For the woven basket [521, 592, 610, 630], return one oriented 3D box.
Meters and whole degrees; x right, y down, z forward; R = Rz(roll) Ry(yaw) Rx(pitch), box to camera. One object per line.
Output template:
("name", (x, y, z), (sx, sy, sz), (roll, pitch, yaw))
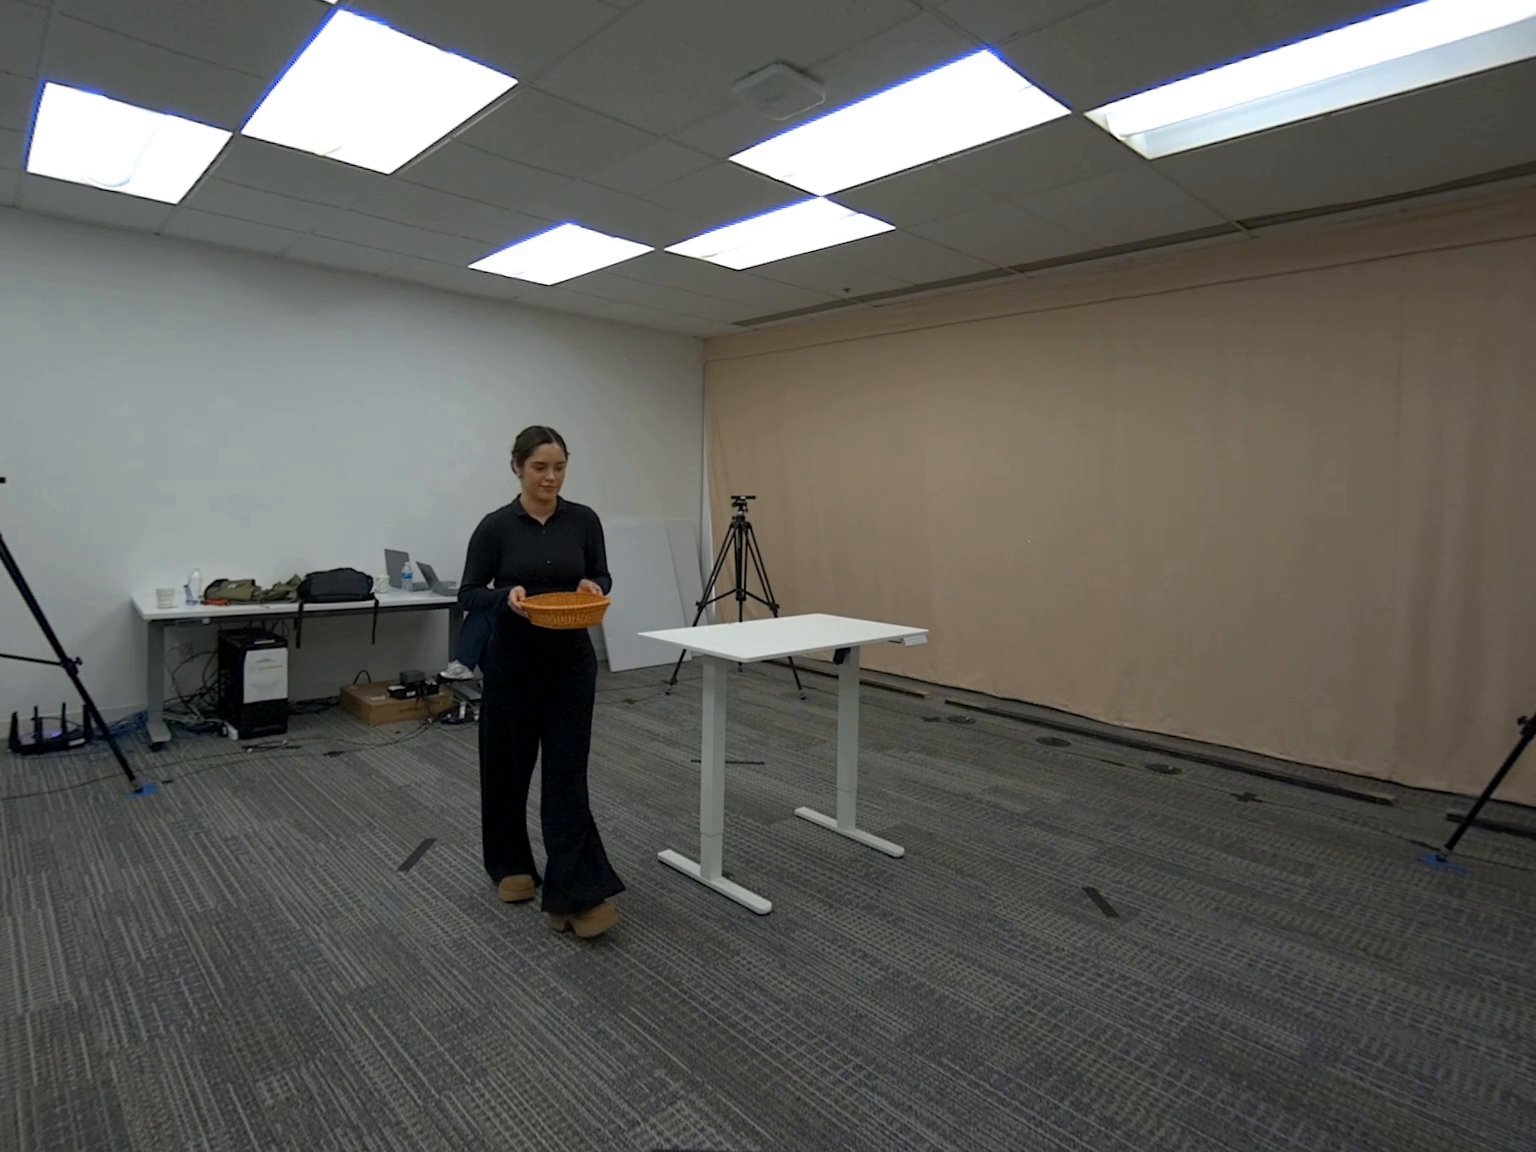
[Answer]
("woven basket", (-0.638, 0.102, 2.544), (0.247, 0.073, 0.359), (-3, 6, -33))
